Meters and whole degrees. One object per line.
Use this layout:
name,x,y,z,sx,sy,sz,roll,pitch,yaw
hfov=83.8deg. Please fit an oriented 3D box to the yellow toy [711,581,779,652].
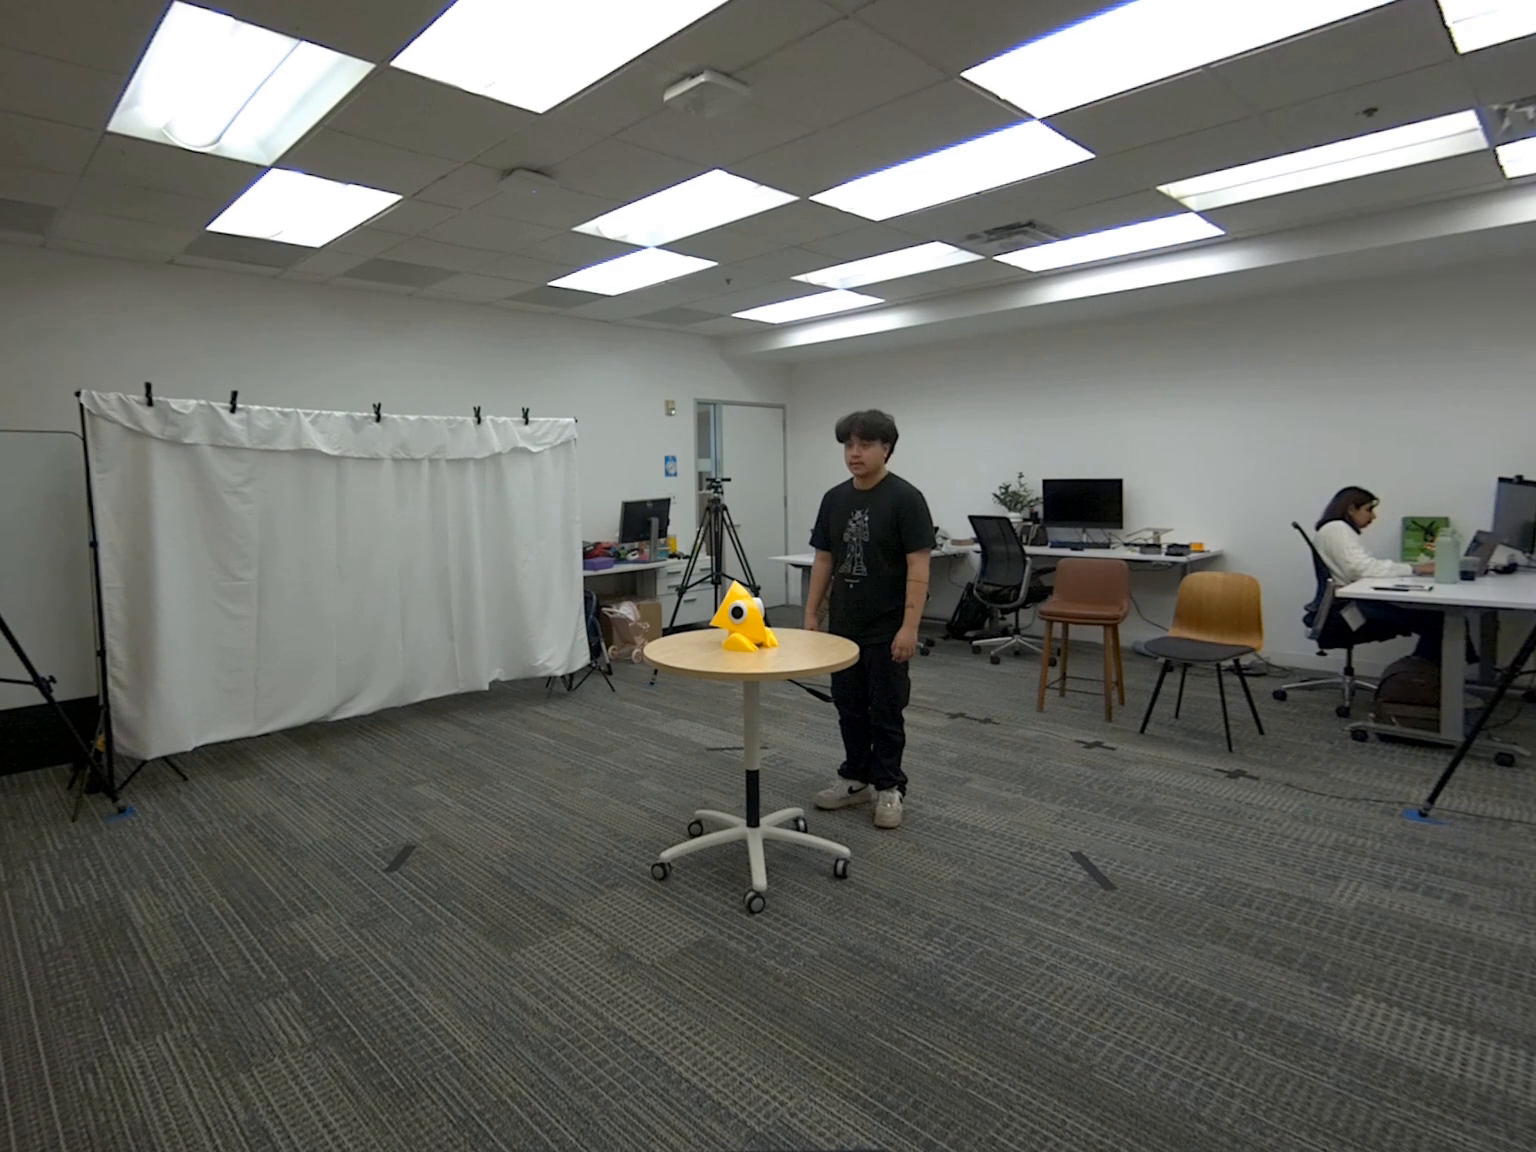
yellow toy,-0.068,0.138,3.073,0.199,0.230,0.199,5,7,43
